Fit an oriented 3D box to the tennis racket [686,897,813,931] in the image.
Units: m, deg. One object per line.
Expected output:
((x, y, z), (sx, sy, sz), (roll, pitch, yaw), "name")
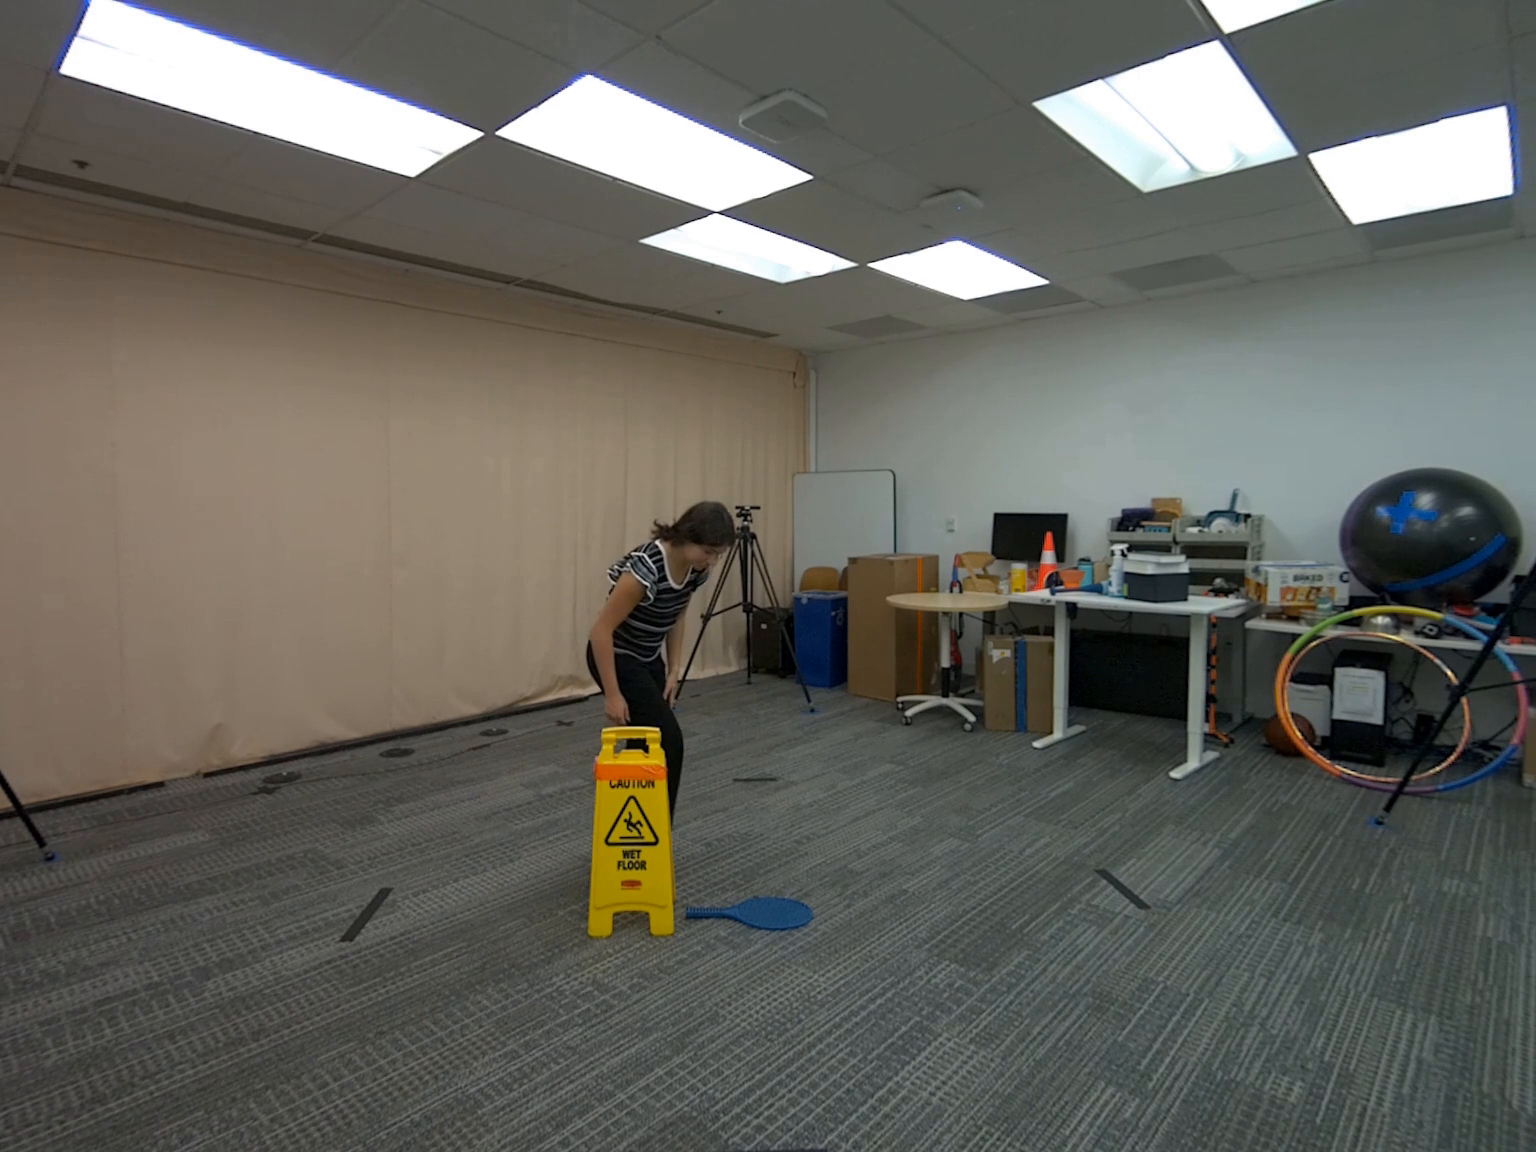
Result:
((-0.061, 1.137, 2.862), (0.433, 0.032, 0.214), (2, 5, -1), "tennis racket")
